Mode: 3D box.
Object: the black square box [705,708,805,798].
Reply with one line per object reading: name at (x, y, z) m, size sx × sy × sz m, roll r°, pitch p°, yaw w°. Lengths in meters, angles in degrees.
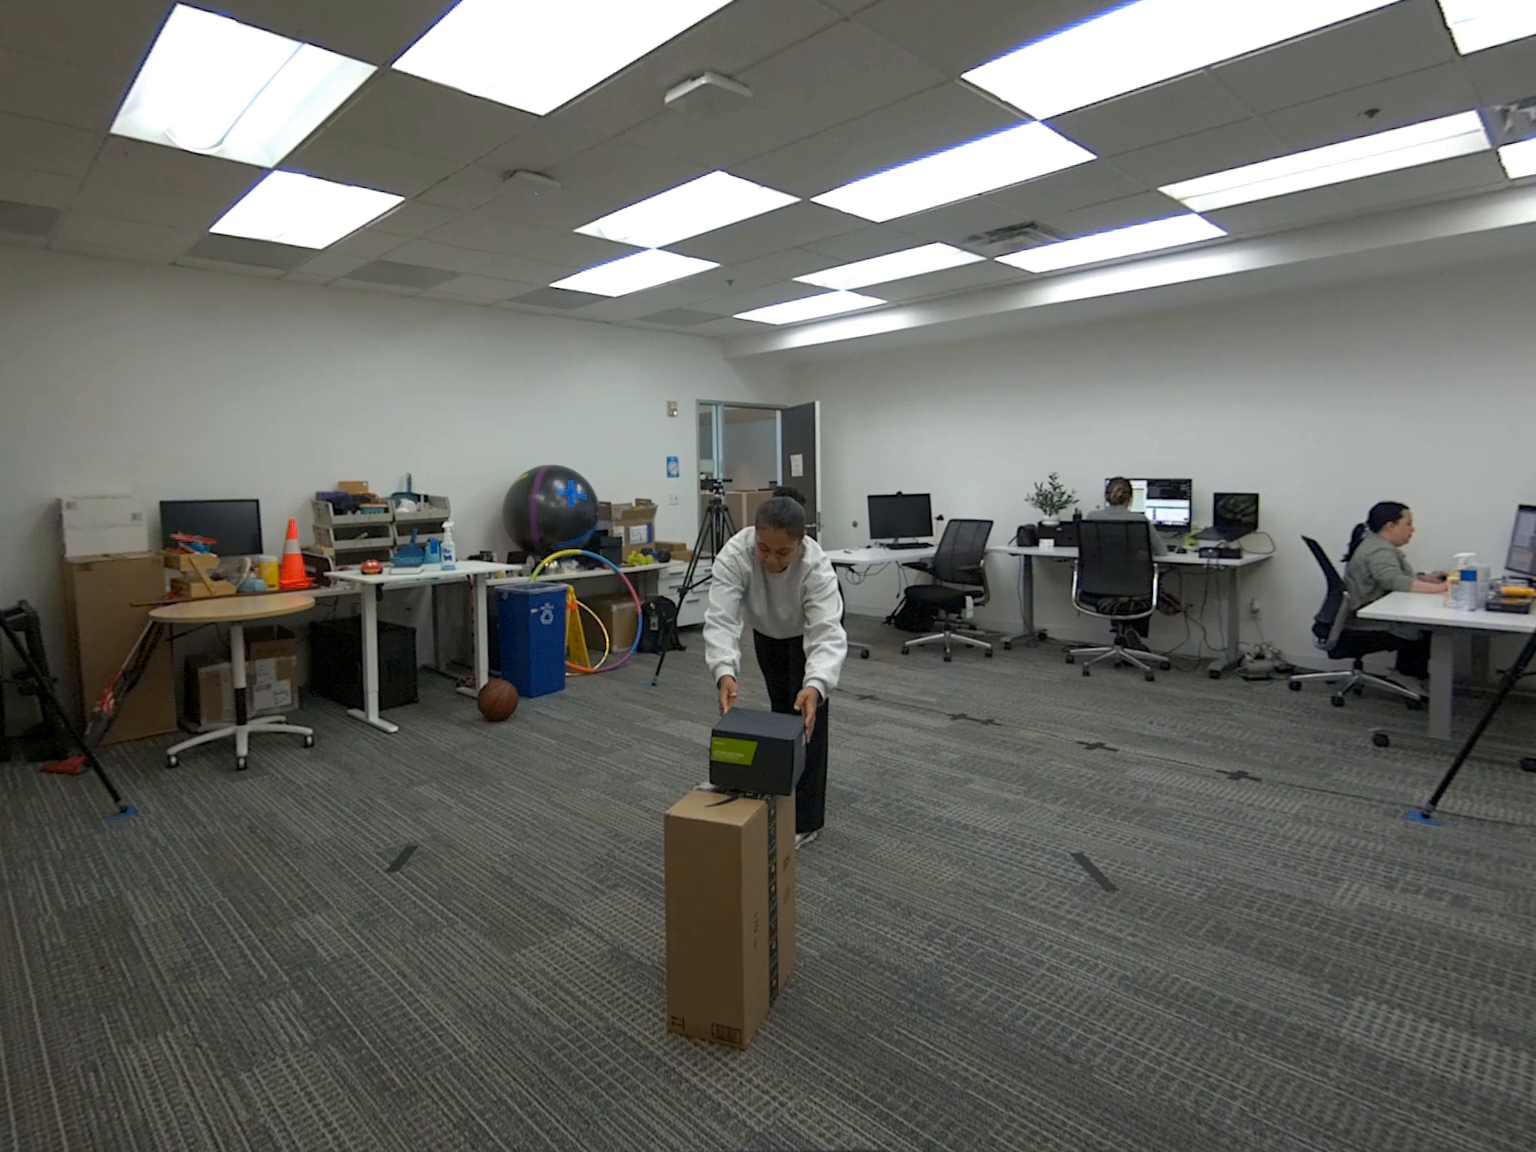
black square box at (-0.036, 0.473, 2.388) m, size 0.231 × 0.155 × 0.215 m, roll 4°, pitch 7°, yaw 14°
